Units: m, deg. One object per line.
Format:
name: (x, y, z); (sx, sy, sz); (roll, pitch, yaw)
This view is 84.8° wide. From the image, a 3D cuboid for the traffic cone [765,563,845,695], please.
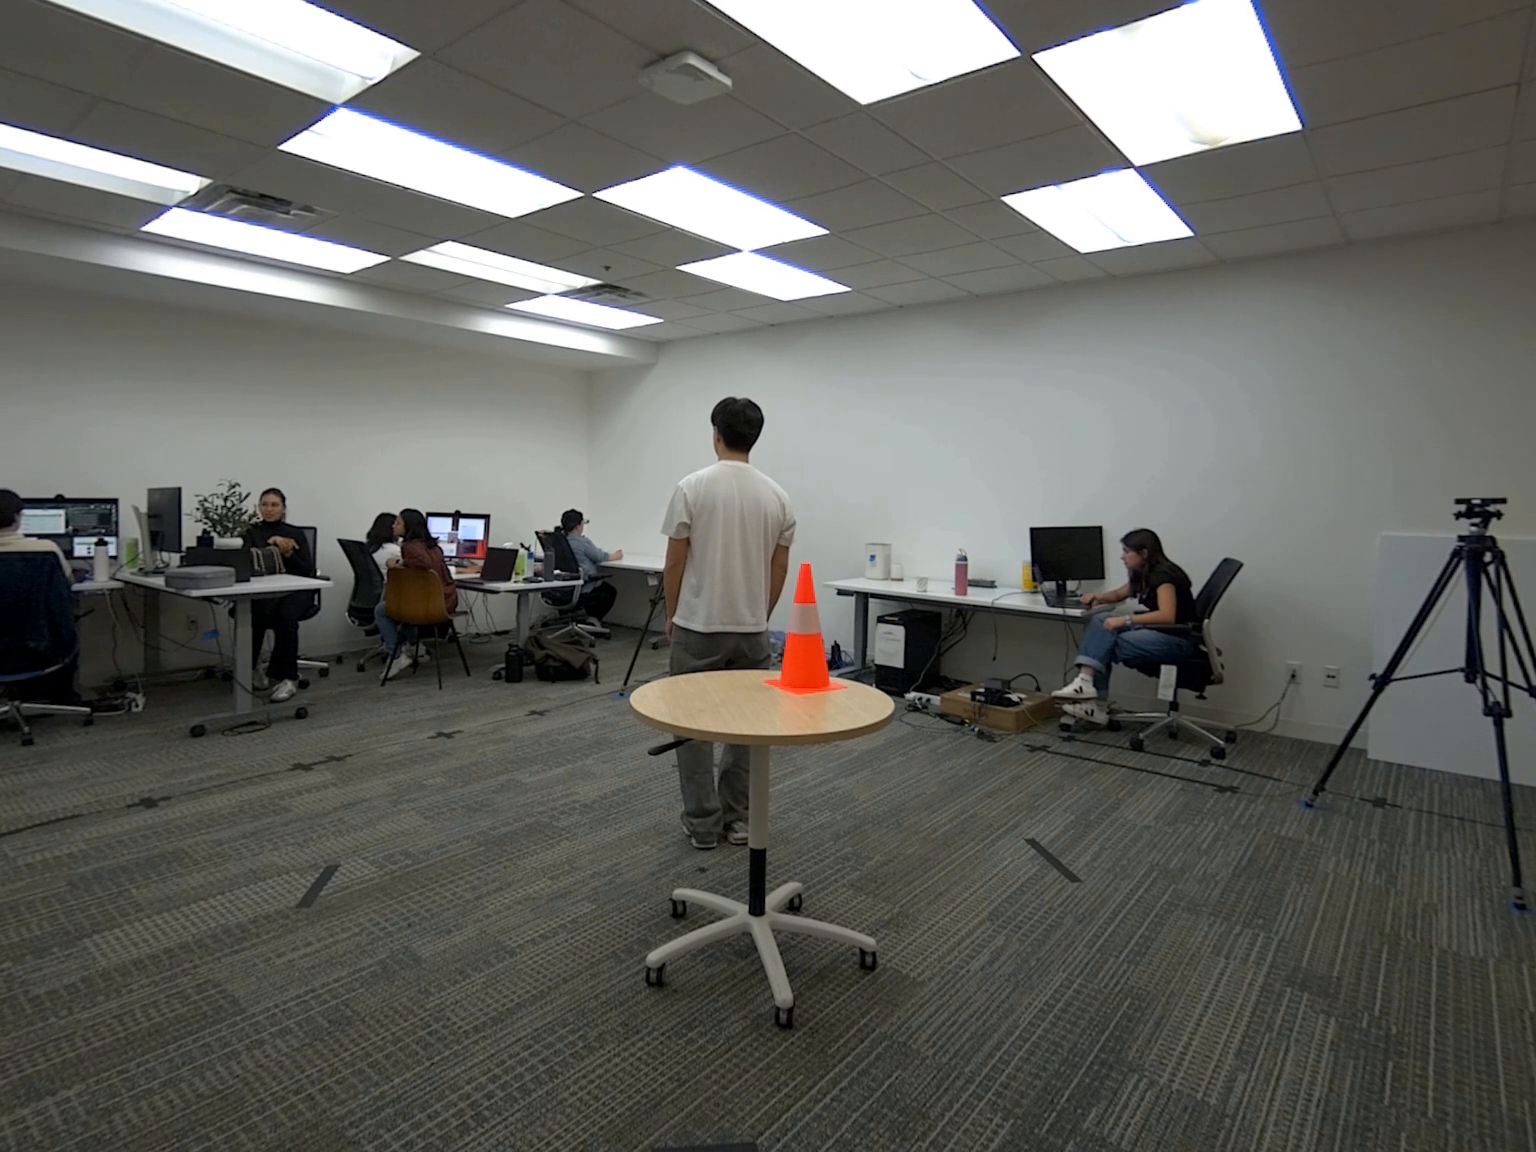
traffic cone: (0.106, 0.143, 2.664); (0.199, 0.383, 0.209); (-4, 3, -37)
